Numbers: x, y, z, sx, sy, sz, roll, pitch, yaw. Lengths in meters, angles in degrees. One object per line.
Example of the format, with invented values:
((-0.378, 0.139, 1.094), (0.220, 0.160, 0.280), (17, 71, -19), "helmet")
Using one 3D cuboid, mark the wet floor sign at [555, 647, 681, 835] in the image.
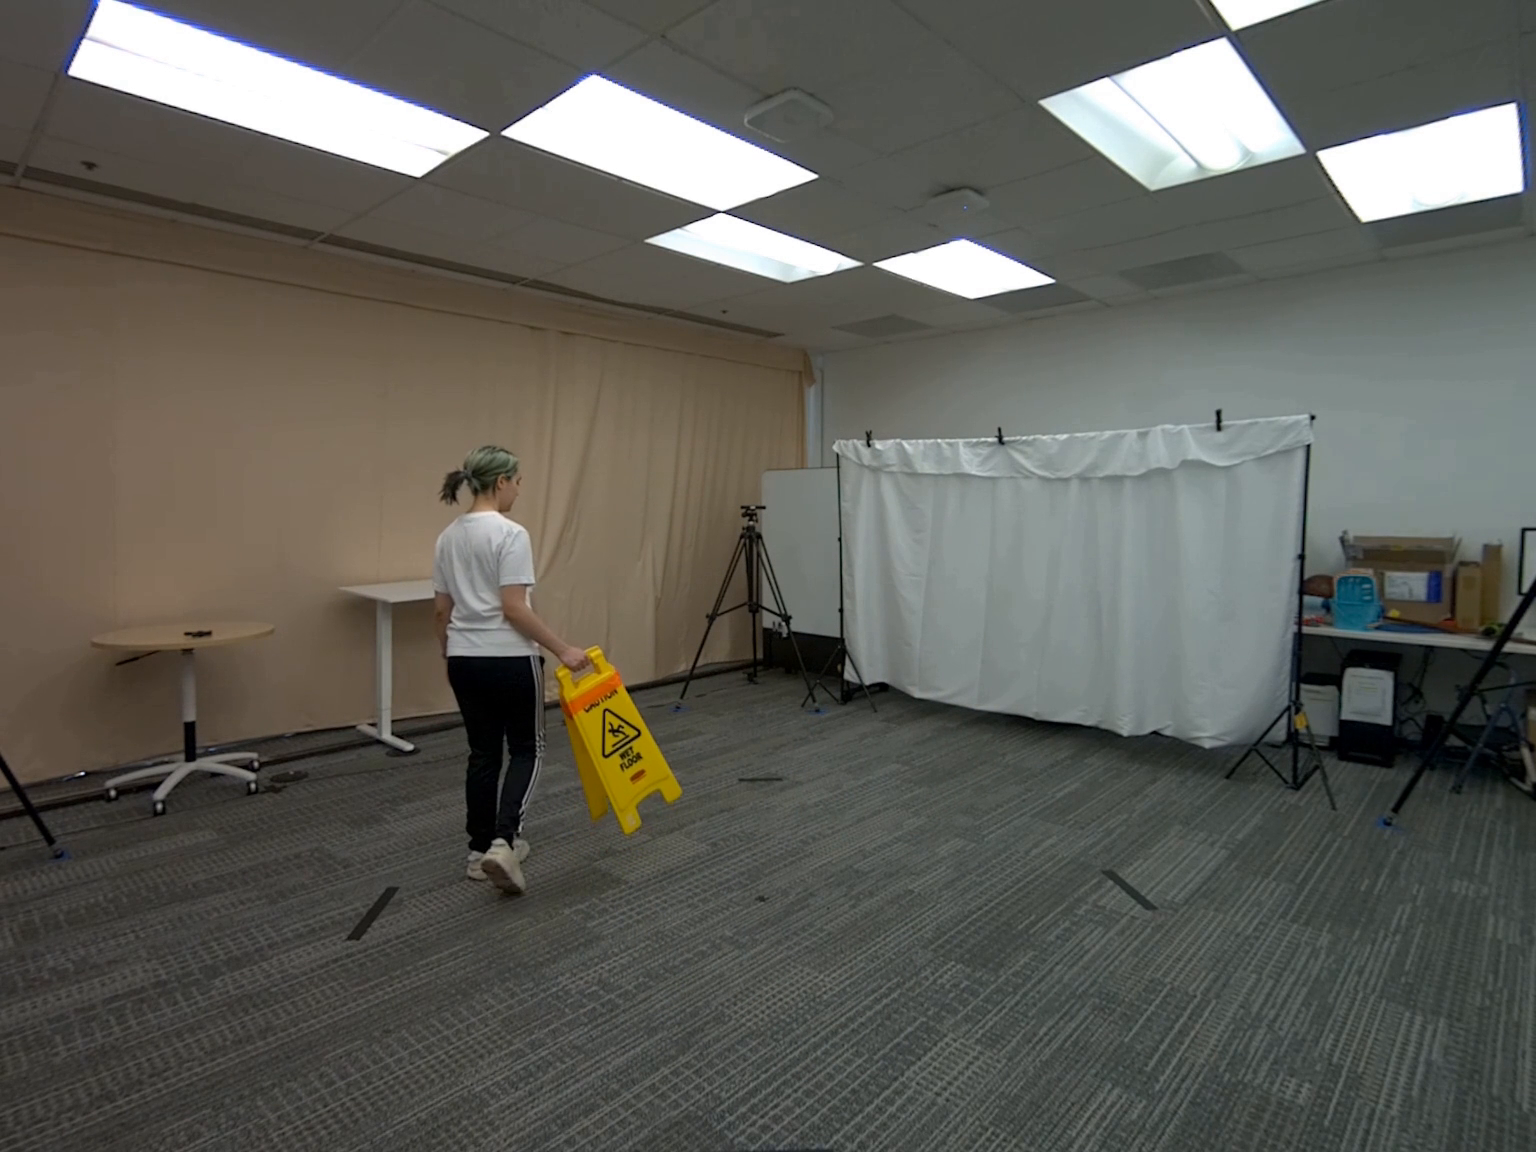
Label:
((-0.608, 0.600, 3.172), (0.277, 0.638, 0.299), (-28, 16, -36), "wet floor sign")
